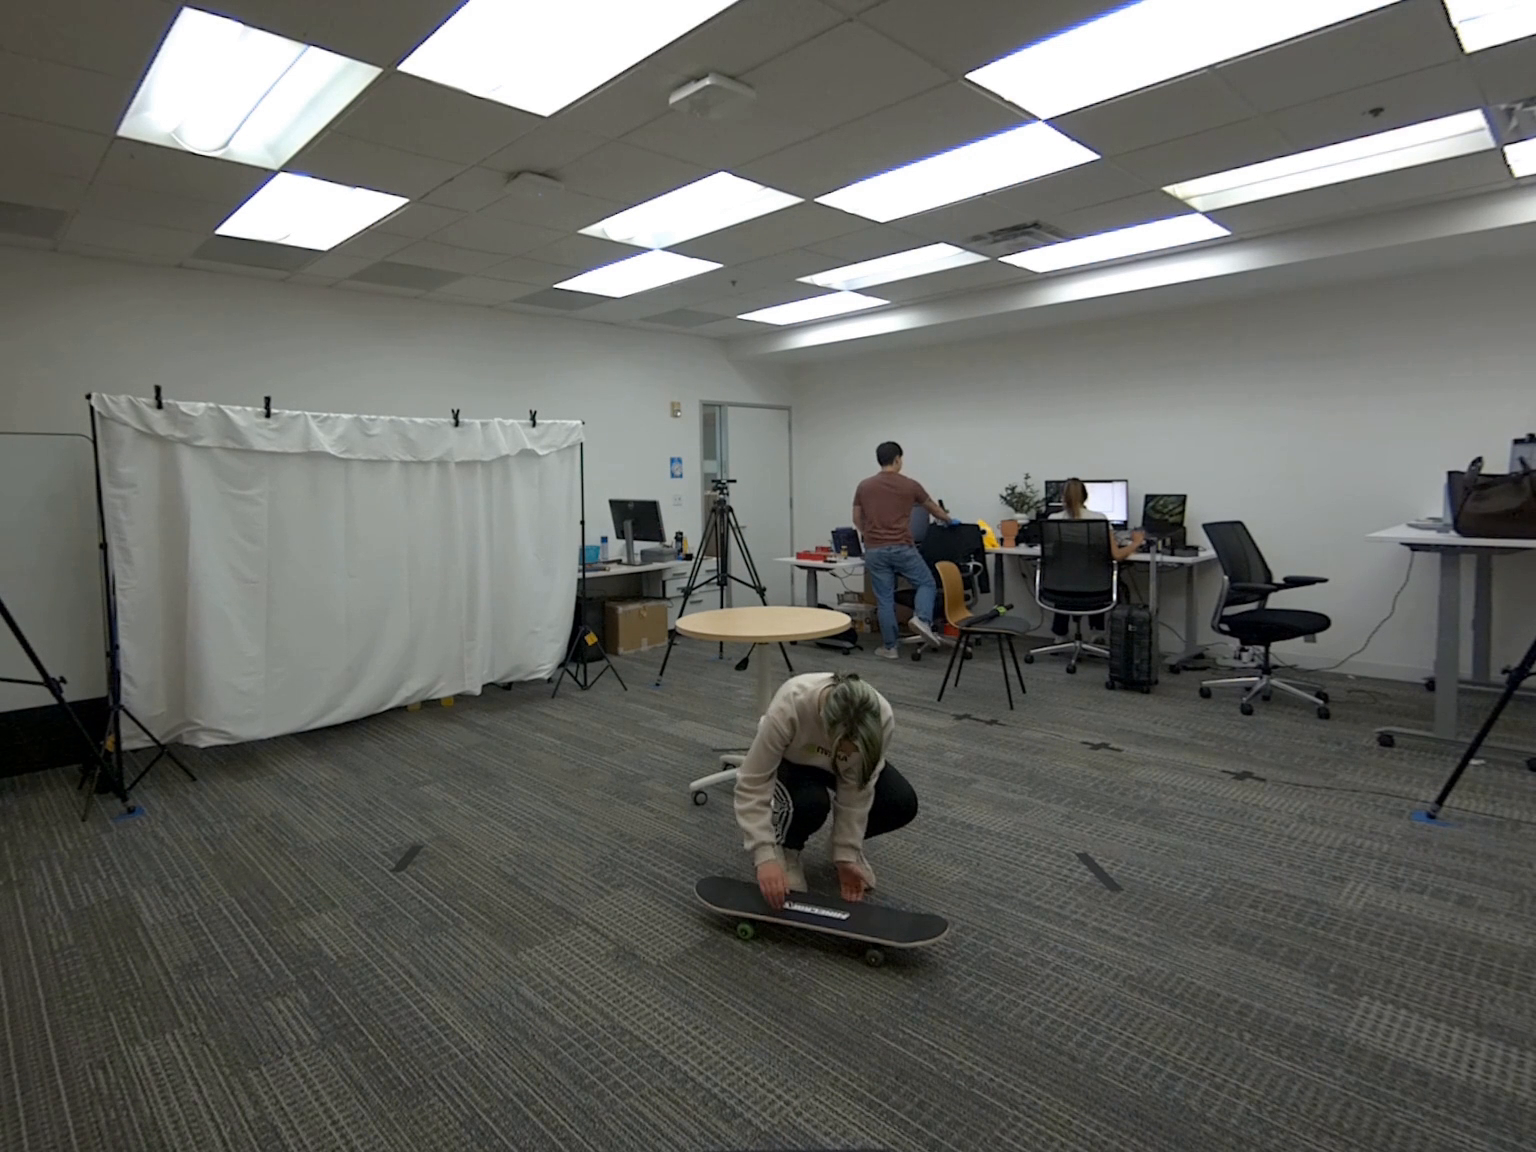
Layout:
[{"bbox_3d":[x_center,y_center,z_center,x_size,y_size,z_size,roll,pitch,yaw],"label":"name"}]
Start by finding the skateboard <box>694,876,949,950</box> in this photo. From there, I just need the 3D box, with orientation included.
[{"bbox_3d":[0.149,1.045,2.588,0.802,0.110,0.190,1,7,23],"label":"skateboard"}]
